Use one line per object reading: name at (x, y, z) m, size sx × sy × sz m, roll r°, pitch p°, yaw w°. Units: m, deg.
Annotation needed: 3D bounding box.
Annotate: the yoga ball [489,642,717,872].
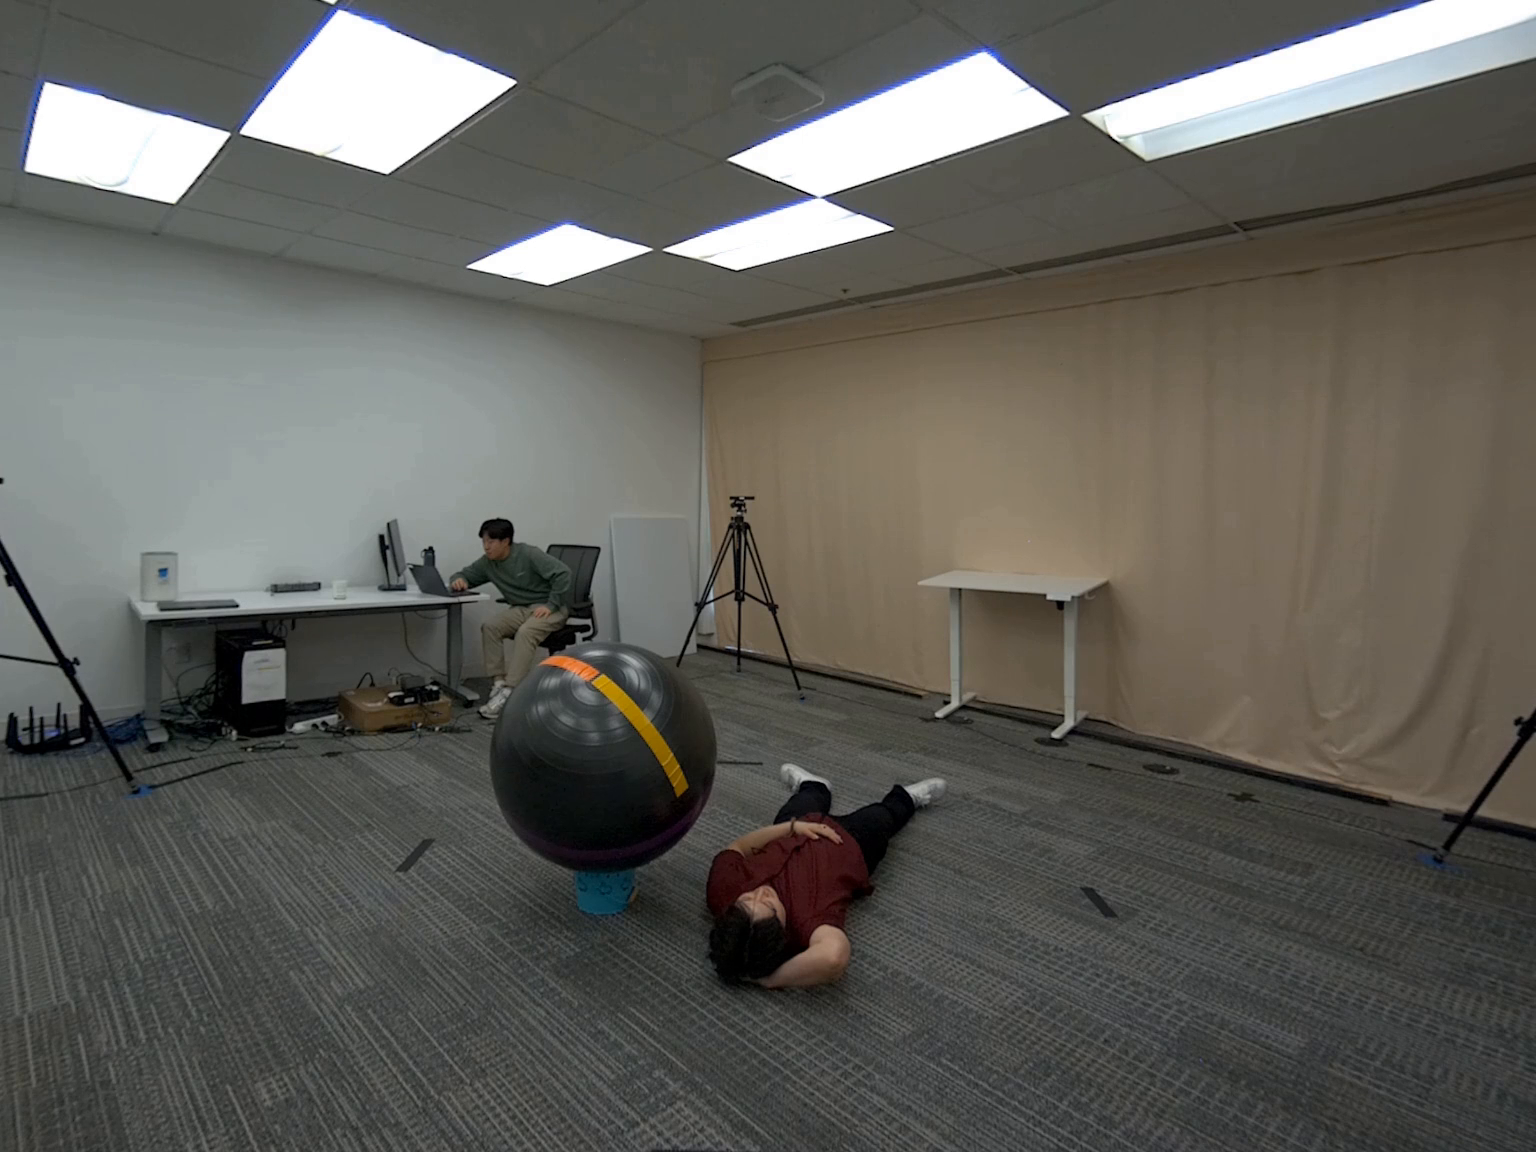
yoga ball at (-0.558, 0.608, 2.860) m, size 0.757 × 0.756 × 0.761 m, roll 1°, pitch 4°, yaw -1°
